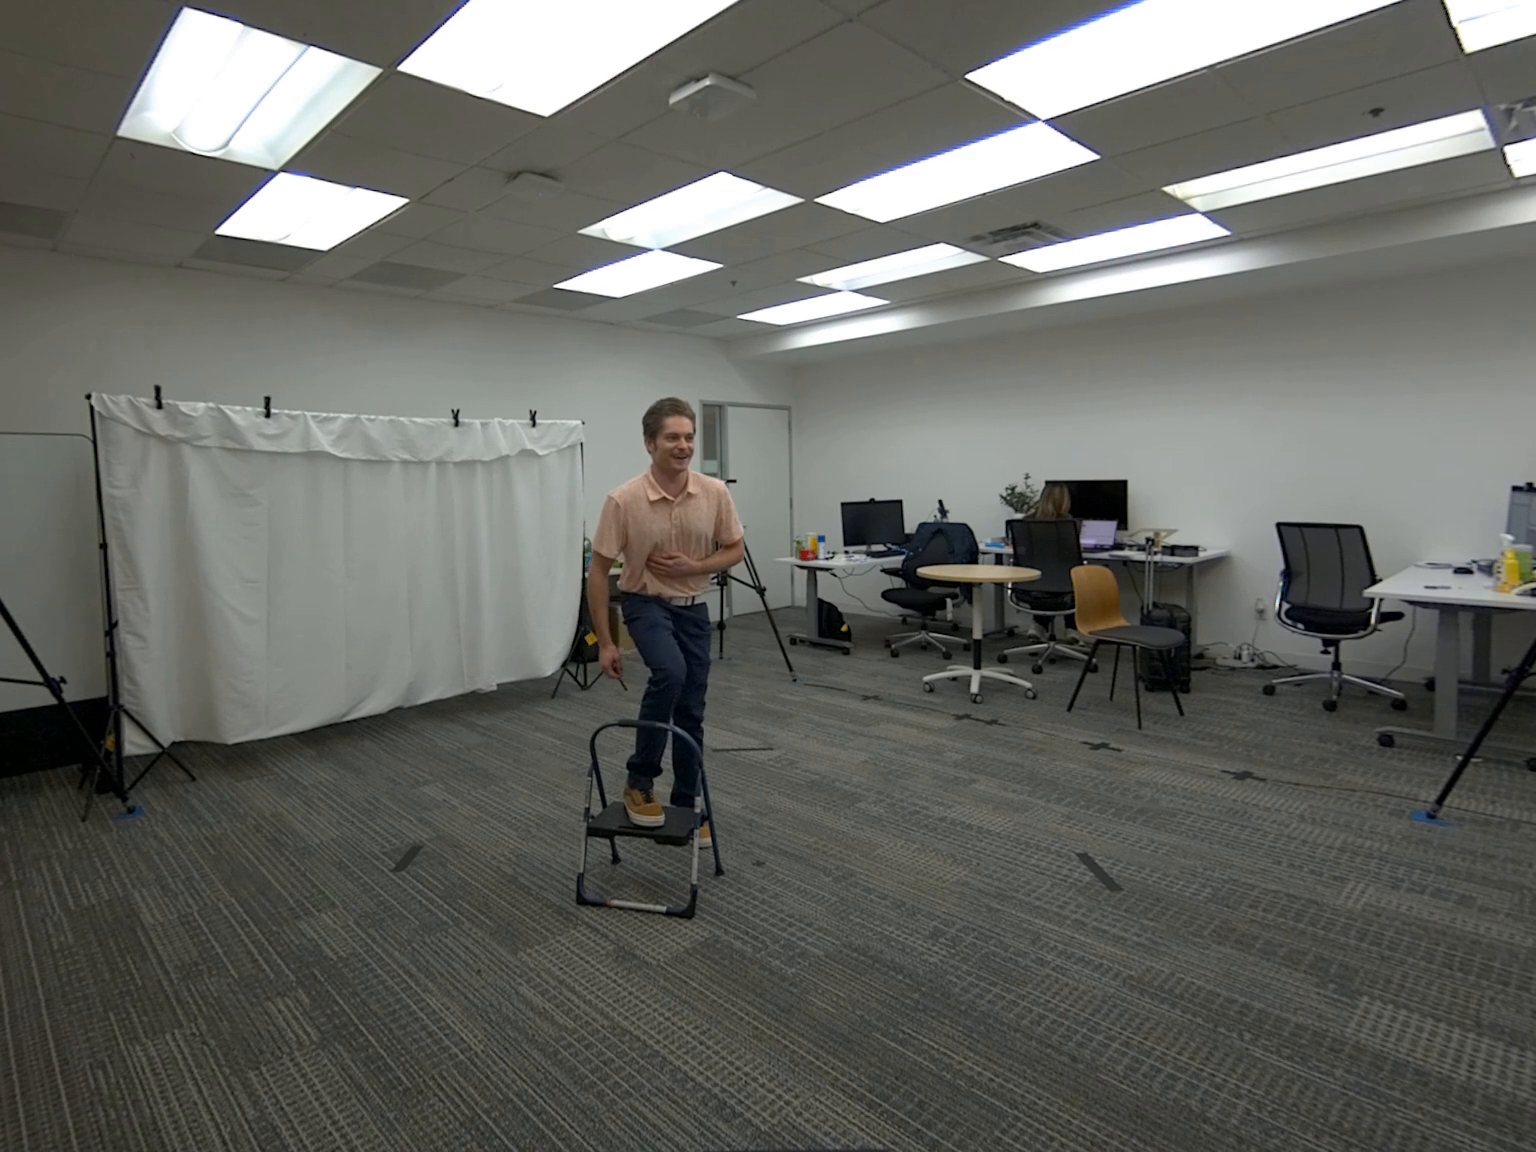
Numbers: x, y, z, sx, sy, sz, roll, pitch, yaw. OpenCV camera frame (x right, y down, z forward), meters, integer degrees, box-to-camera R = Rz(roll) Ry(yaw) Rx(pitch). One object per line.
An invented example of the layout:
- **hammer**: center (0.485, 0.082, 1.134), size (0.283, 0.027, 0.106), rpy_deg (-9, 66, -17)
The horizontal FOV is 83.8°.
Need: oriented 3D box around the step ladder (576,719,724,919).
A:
- **step ladder**: center (-0.407, 0.774, 2.921), size (0.437, 0.603, 0.346), rpy_deg (0, 5, 14)
